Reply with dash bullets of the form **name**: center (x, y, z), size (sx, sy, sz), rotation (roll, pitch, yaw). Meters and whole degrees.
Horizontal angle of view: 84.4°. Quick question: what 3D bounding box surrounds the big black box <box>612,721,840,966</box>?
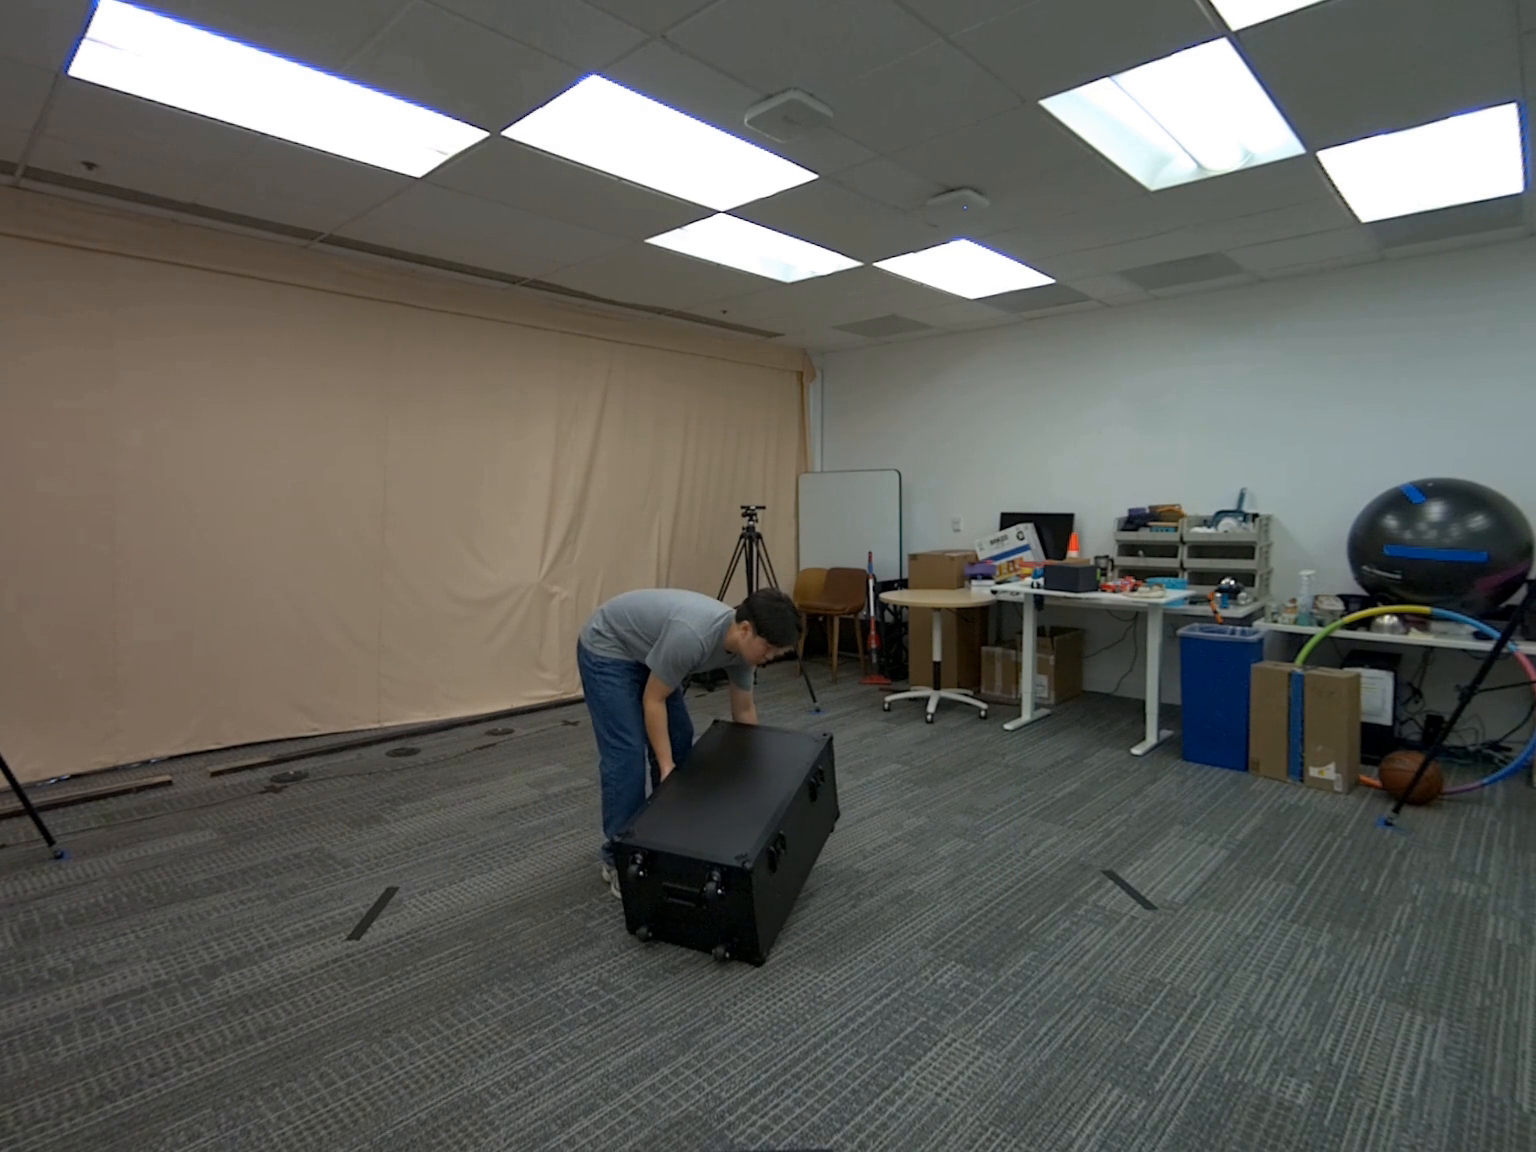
- **big black box**: center (-0.120, 0.892, 2.892), size (0.534, 0.391, 0.850), rotation (1, 19, 24)
